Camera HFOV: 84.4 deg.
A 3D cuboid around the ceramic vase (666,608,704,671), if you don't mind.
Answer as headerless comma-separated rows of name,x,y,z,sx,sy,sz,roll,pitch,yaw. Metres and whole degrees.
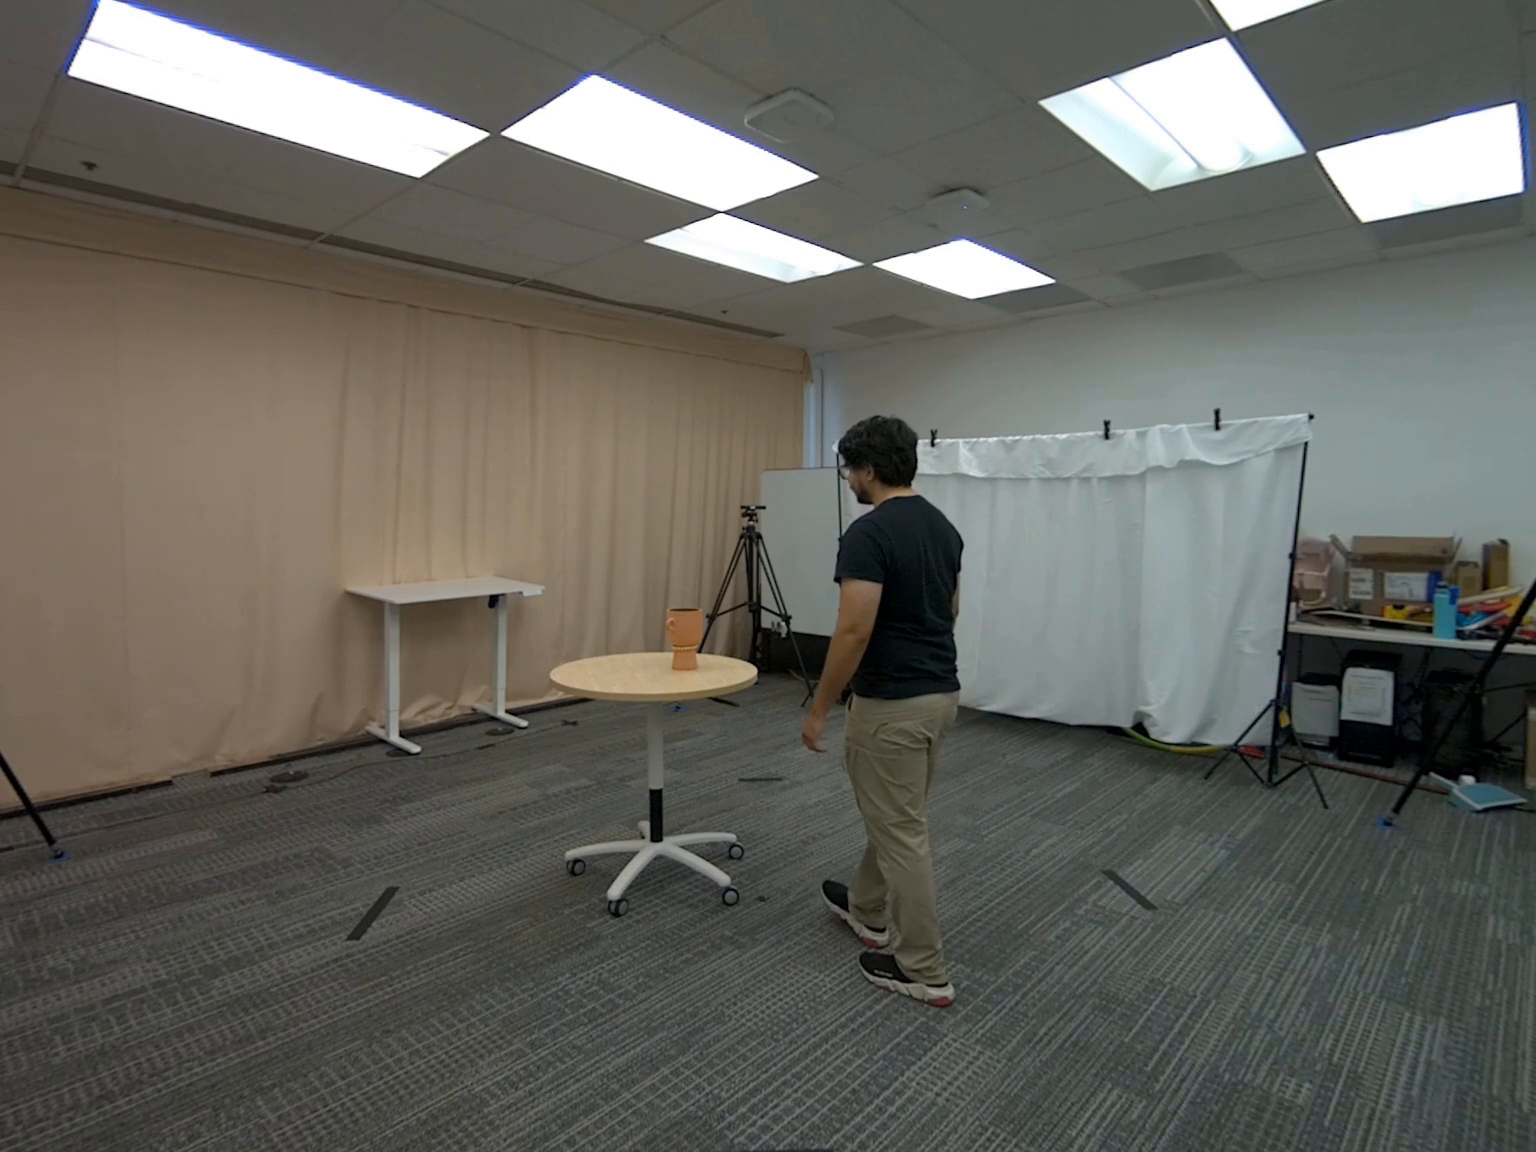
ceramic vase,-0.317,0.239,3.168,0.157,0.219,0.136,0,3,-11
